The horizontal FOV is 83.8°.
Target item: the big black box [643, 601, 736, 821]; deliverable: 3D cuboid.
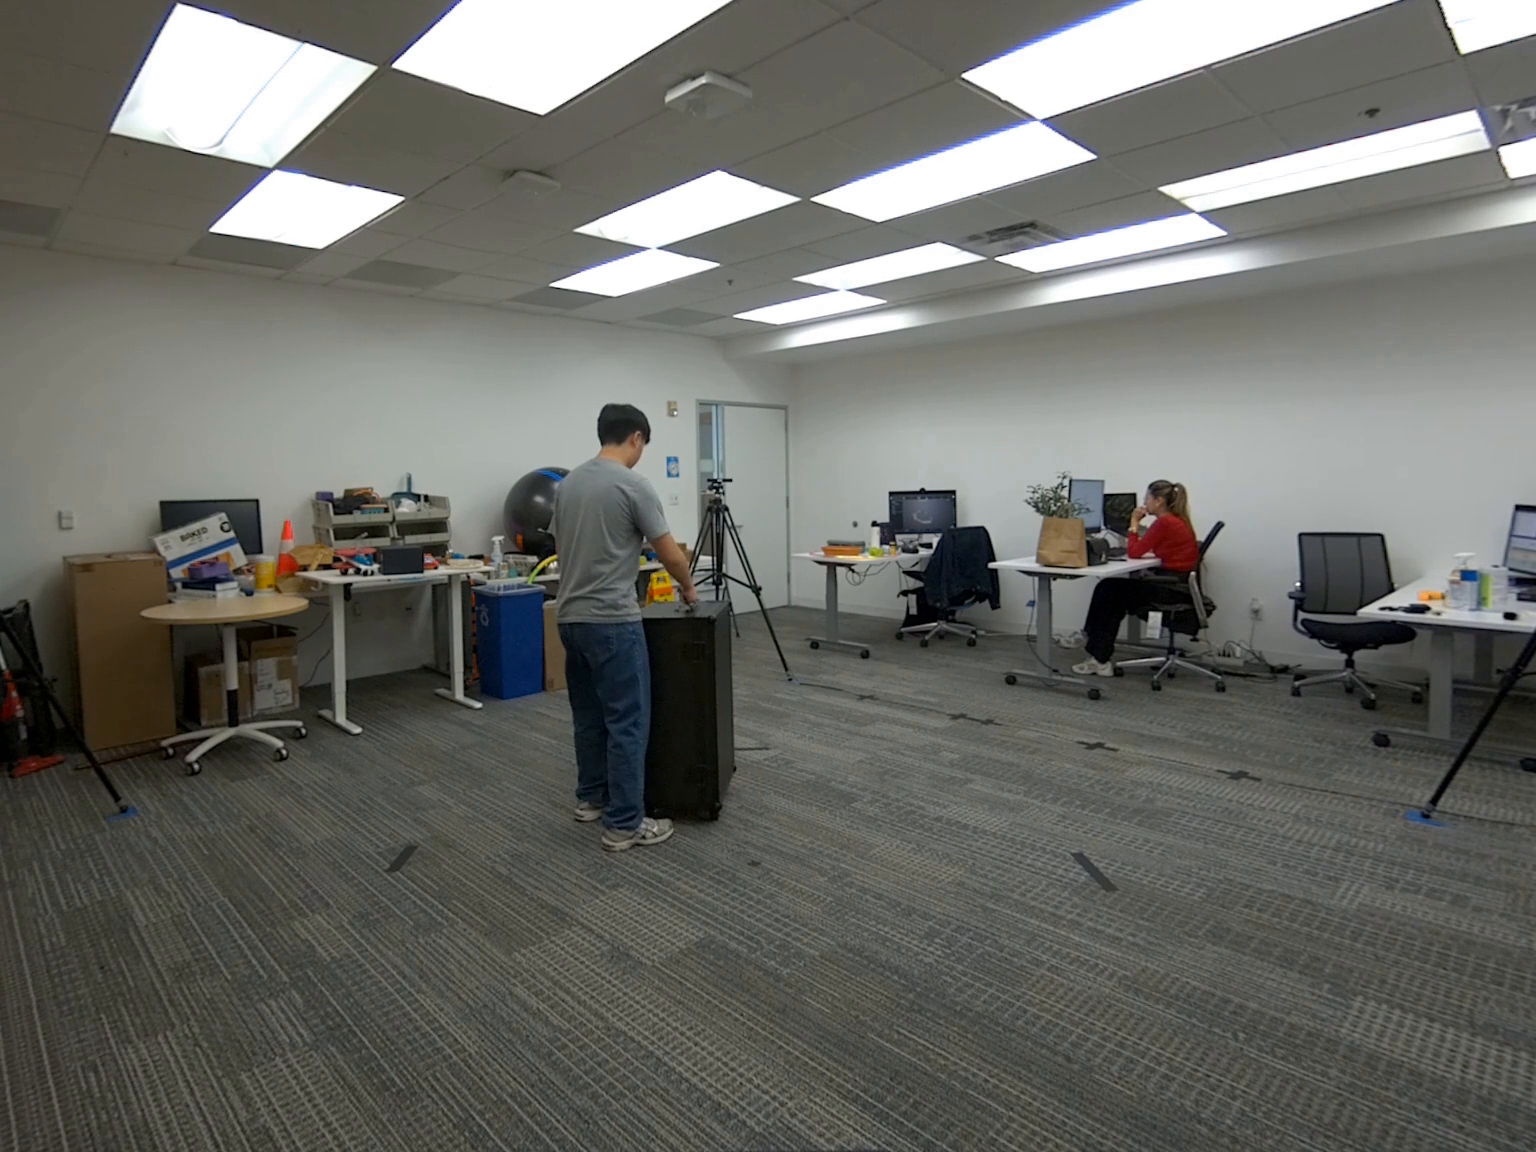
[{"bbox_3d":[-0.365,0.564,3.670,0.399,0.858,0.519,-1,4,7],"label":"big black box"}]
